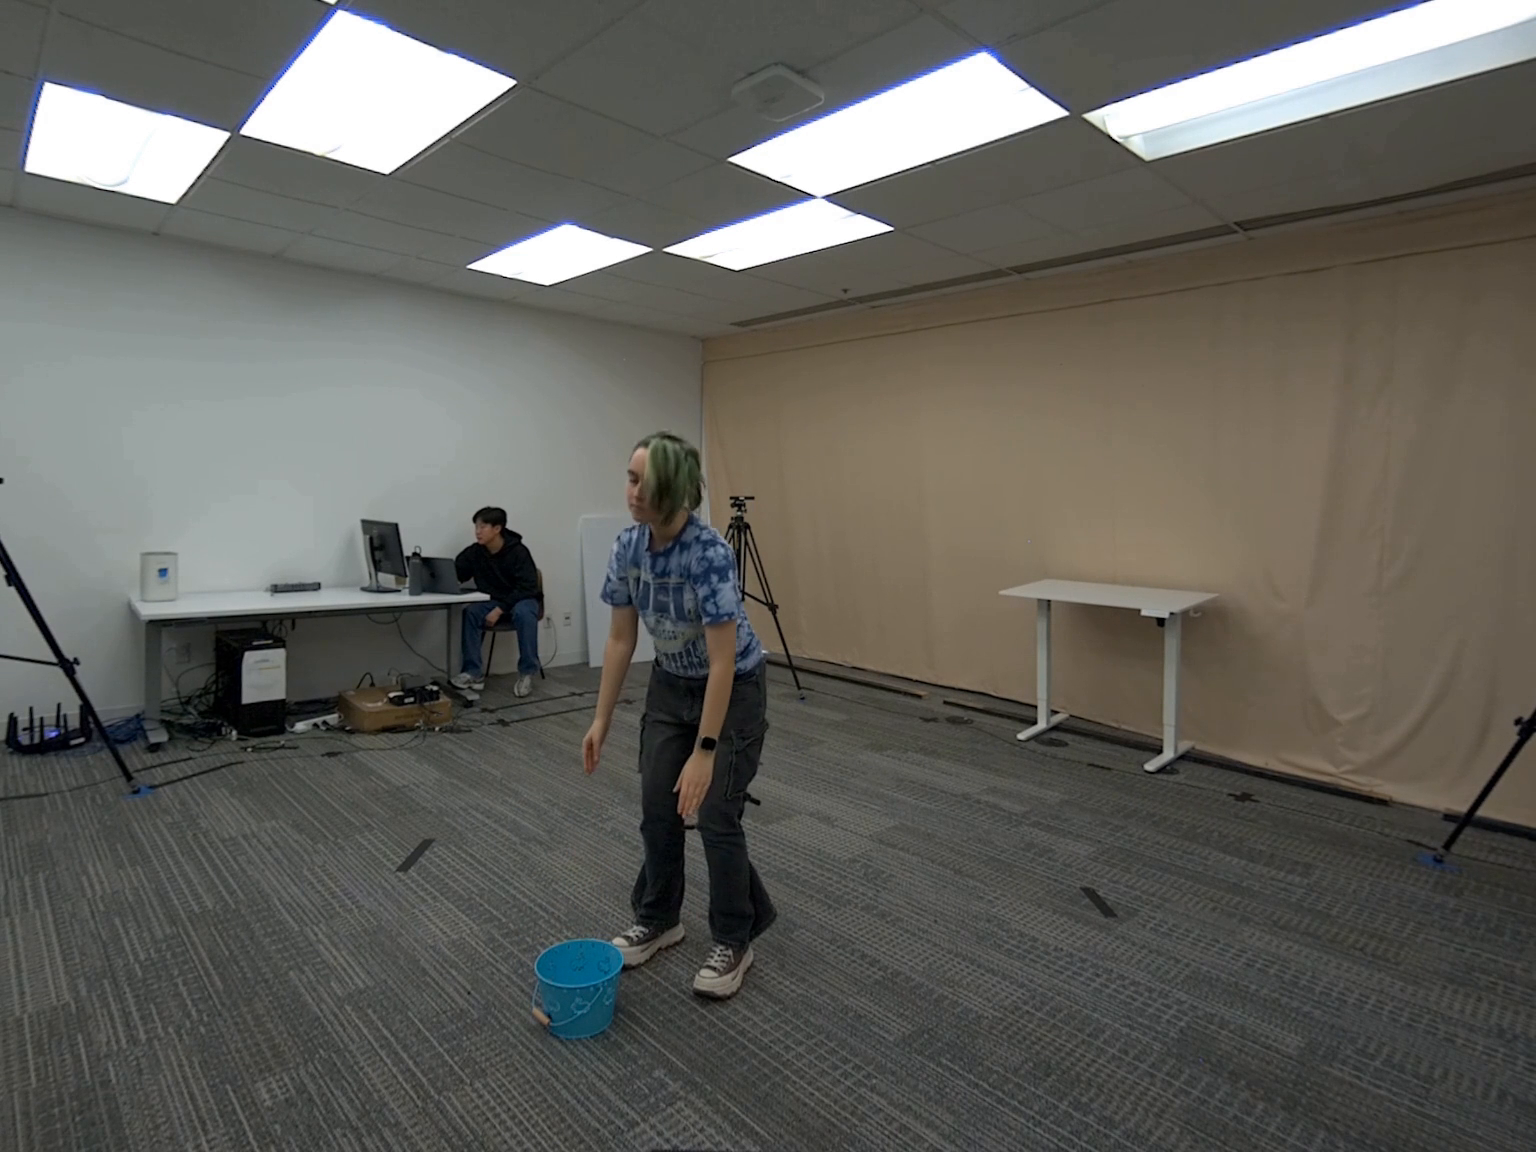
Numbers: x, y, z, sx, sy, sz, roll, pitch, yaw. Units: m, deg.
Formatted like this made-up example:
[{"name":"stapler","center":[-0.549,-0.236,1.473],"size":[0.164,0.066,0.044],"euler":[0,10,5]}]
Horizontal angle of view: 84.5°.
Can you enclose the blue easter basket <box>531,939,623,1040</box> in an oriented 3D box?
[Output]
[{"name":"blue easter basket","center":[-0.511,1.100,2.231],"size":[0.243,0.155,0.244],"euler":[1,4,-1]}]
